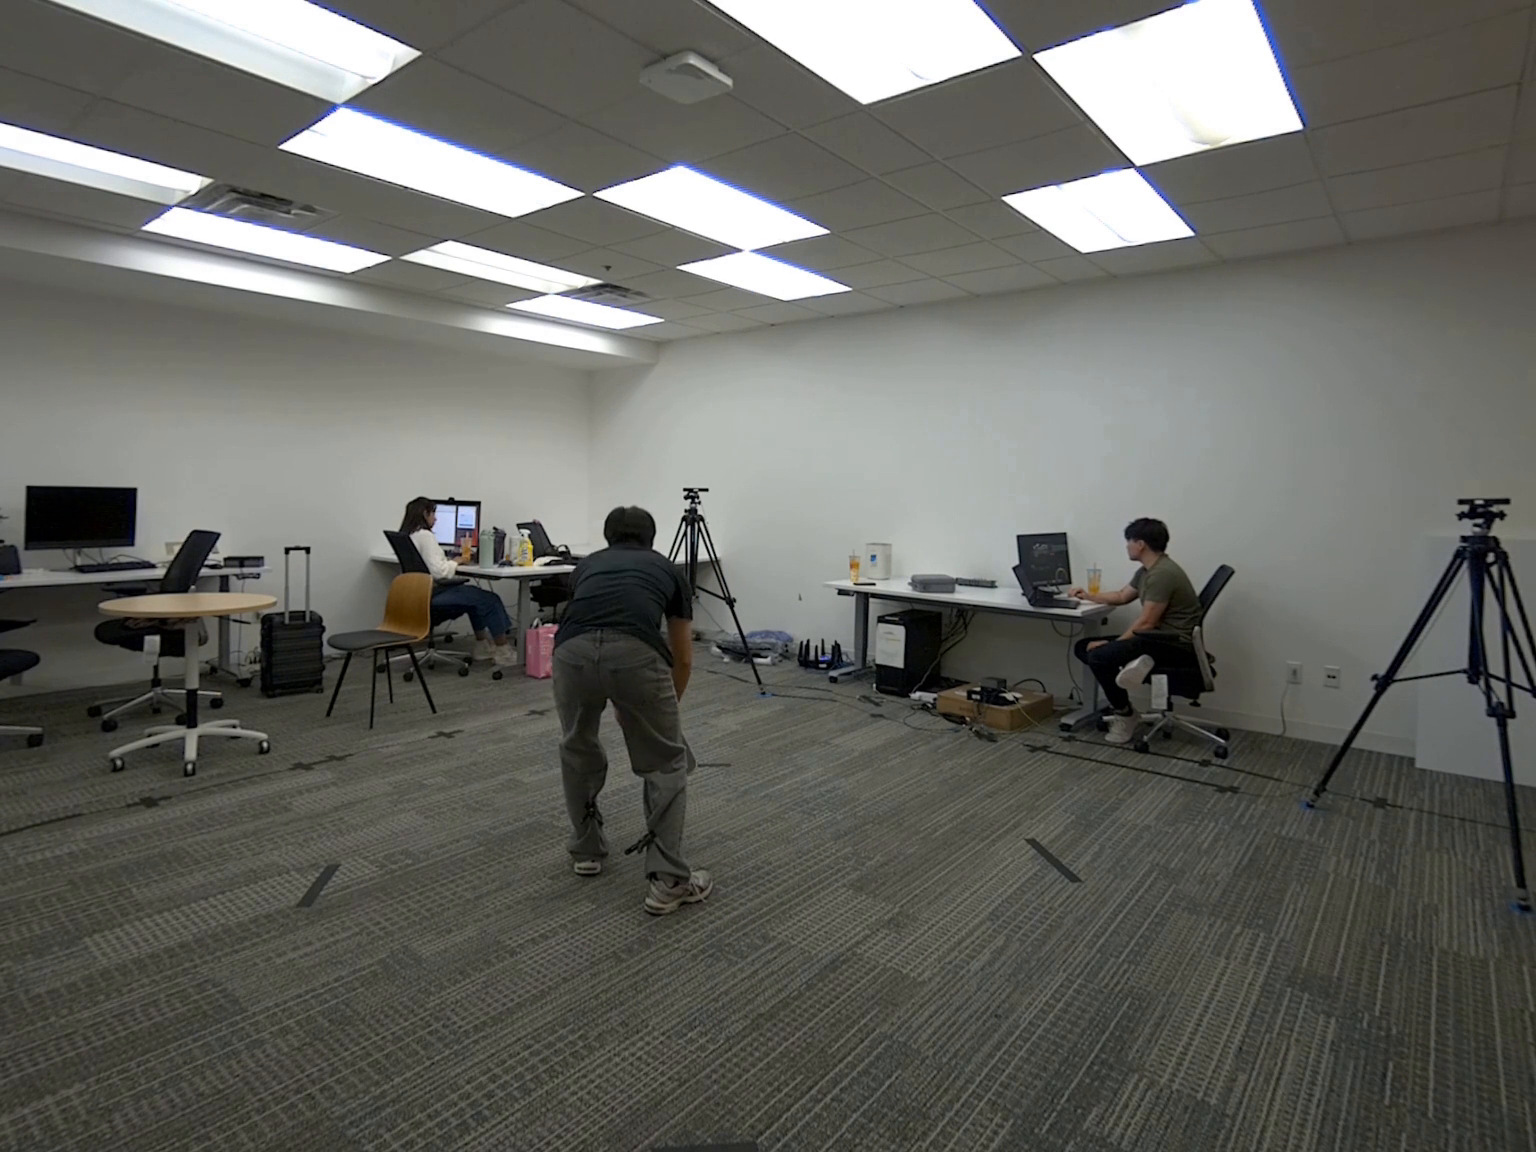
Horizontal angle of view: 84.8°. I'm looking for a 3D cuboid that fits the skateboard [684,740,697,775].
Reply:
[{"bbox_3d":[-0.492,0.601,3.451,0.190,0.108,0.818,-11,32,-21],"label":"skateboard"}]
